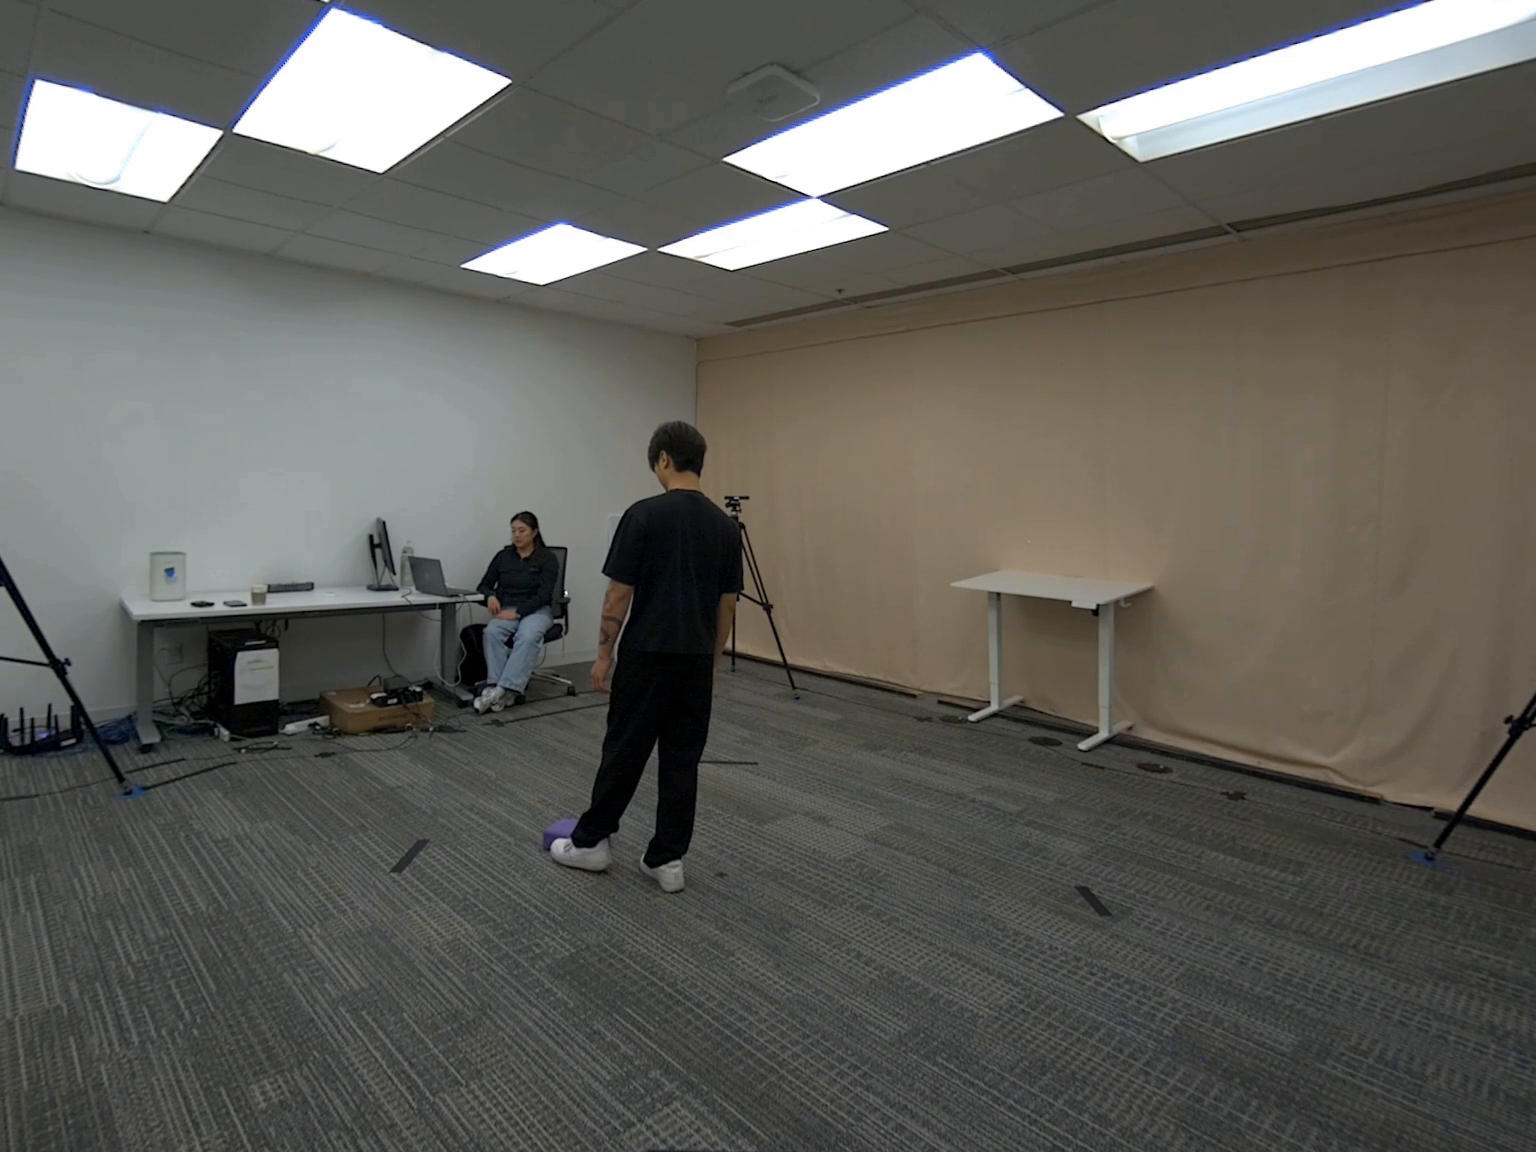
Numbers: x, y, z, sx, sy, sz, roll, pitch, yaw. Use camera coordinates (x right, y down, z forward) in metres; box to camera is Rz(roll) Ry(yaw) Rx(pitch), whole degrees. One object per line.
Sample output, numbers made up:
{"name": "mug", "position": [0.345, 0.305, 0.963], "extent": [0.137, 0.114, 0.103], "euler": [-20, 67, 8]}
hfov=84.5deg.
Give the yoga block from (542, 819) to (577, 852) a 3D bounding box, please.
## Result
{"name": "yoga block", "position": [-0.757, 1.032, 3.311], "extent": [0.233, 0.076, 0.147], "euler": [3, 4, 19]}
